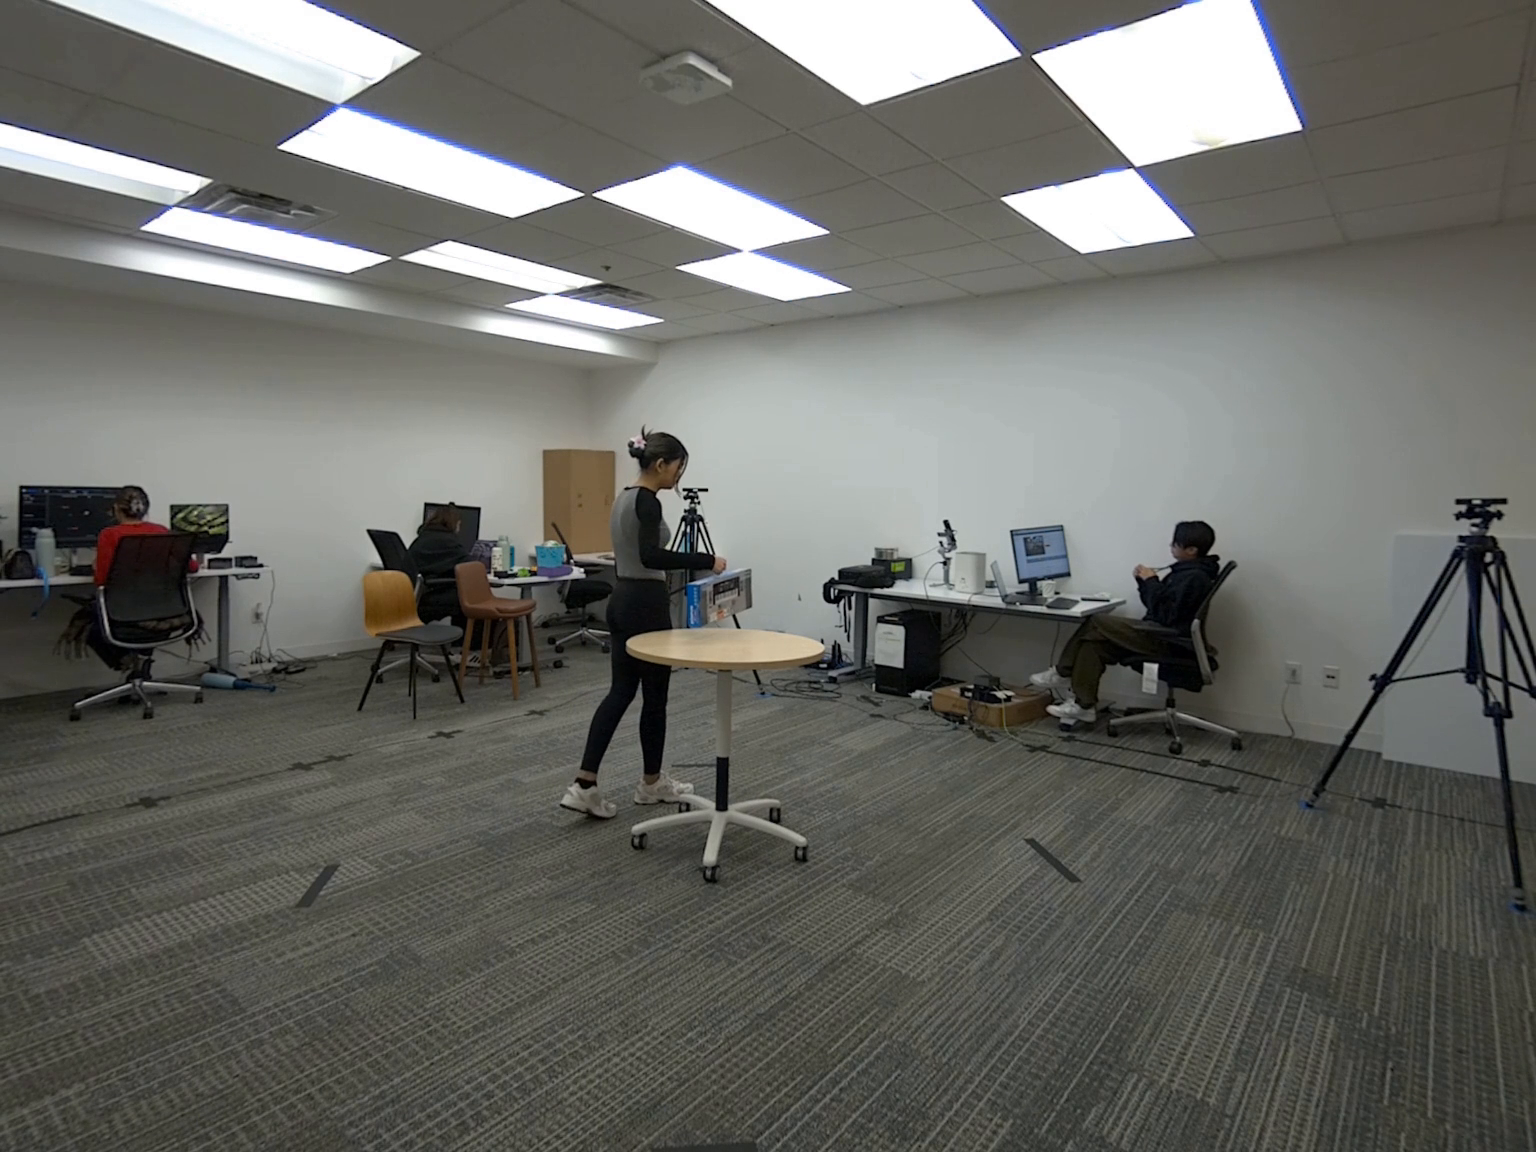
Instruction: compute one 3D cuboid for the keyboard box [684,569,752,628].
[{"bbox_3d":[-0.207,0.084,3.533,0.061,0.175,0.428,2,9,28],"label":"keyboard box"}]
